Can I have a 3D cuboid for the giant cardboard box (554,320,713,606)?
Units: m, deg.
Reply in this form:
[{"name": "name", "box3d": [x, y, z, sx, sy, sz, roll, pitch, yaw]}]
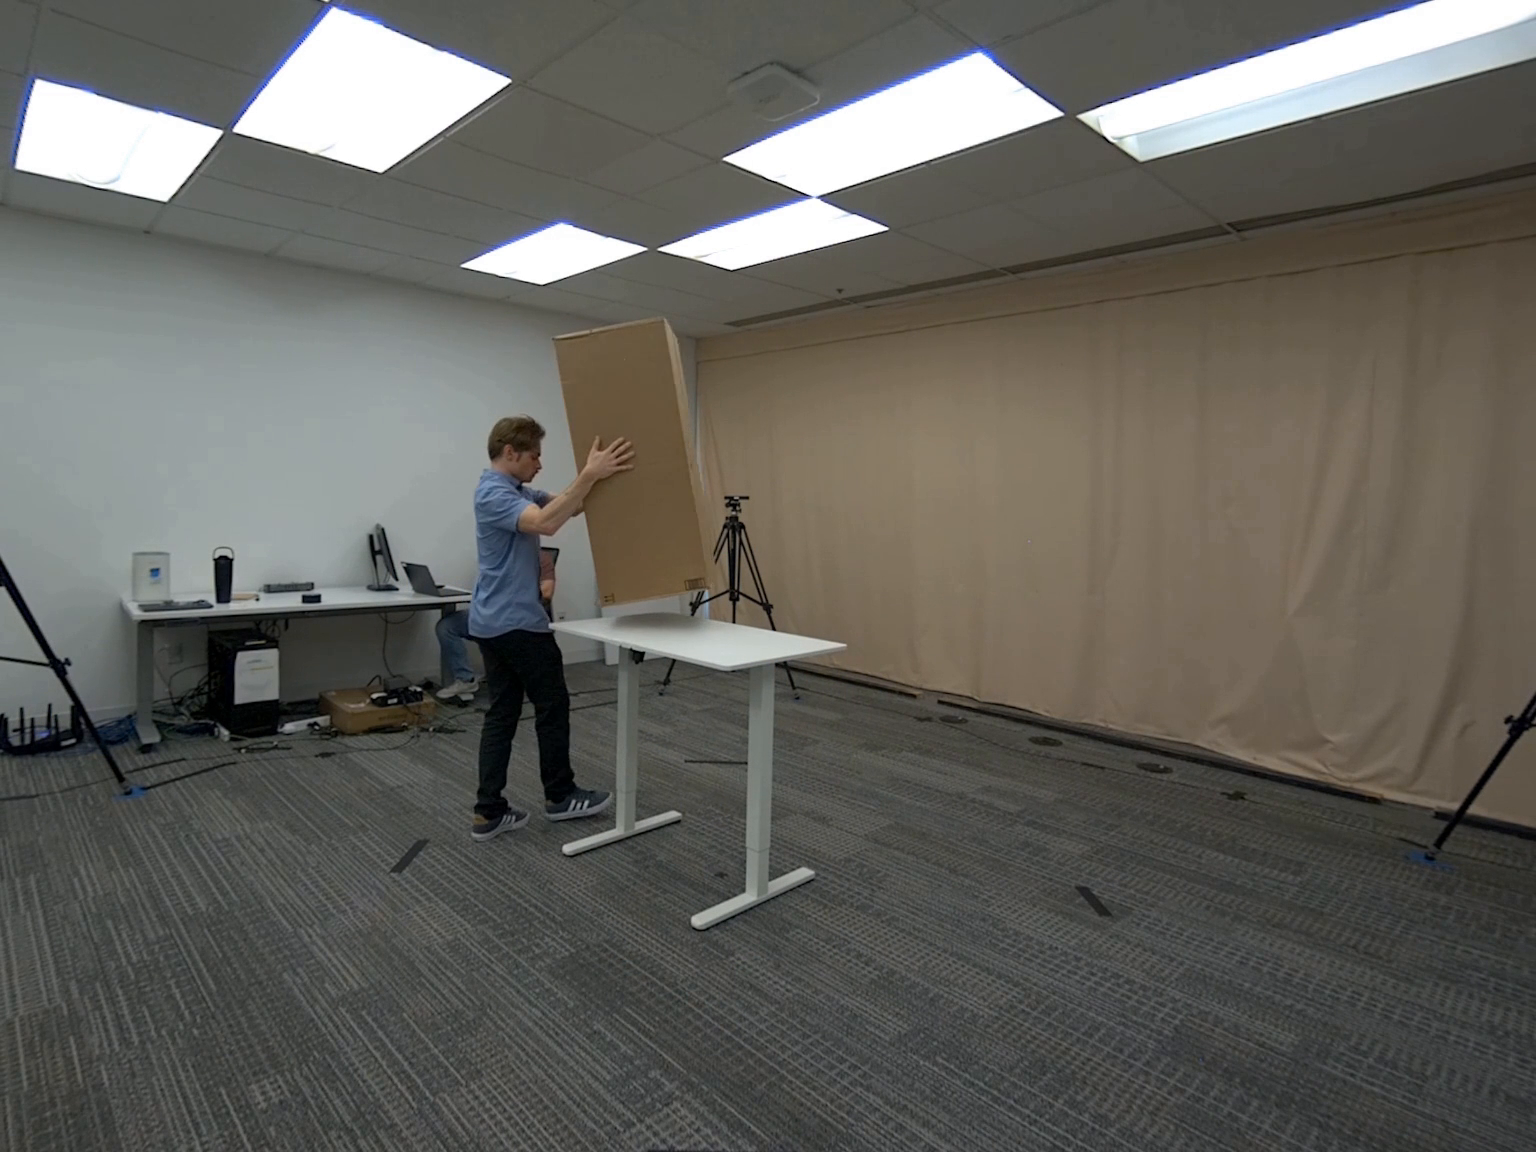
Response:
[{"name": "giant cardboard box", "box3d": [-0.518, -0.443, 3.401, 0.427, 1.022, 0.579, -9, 5, 2]}]
